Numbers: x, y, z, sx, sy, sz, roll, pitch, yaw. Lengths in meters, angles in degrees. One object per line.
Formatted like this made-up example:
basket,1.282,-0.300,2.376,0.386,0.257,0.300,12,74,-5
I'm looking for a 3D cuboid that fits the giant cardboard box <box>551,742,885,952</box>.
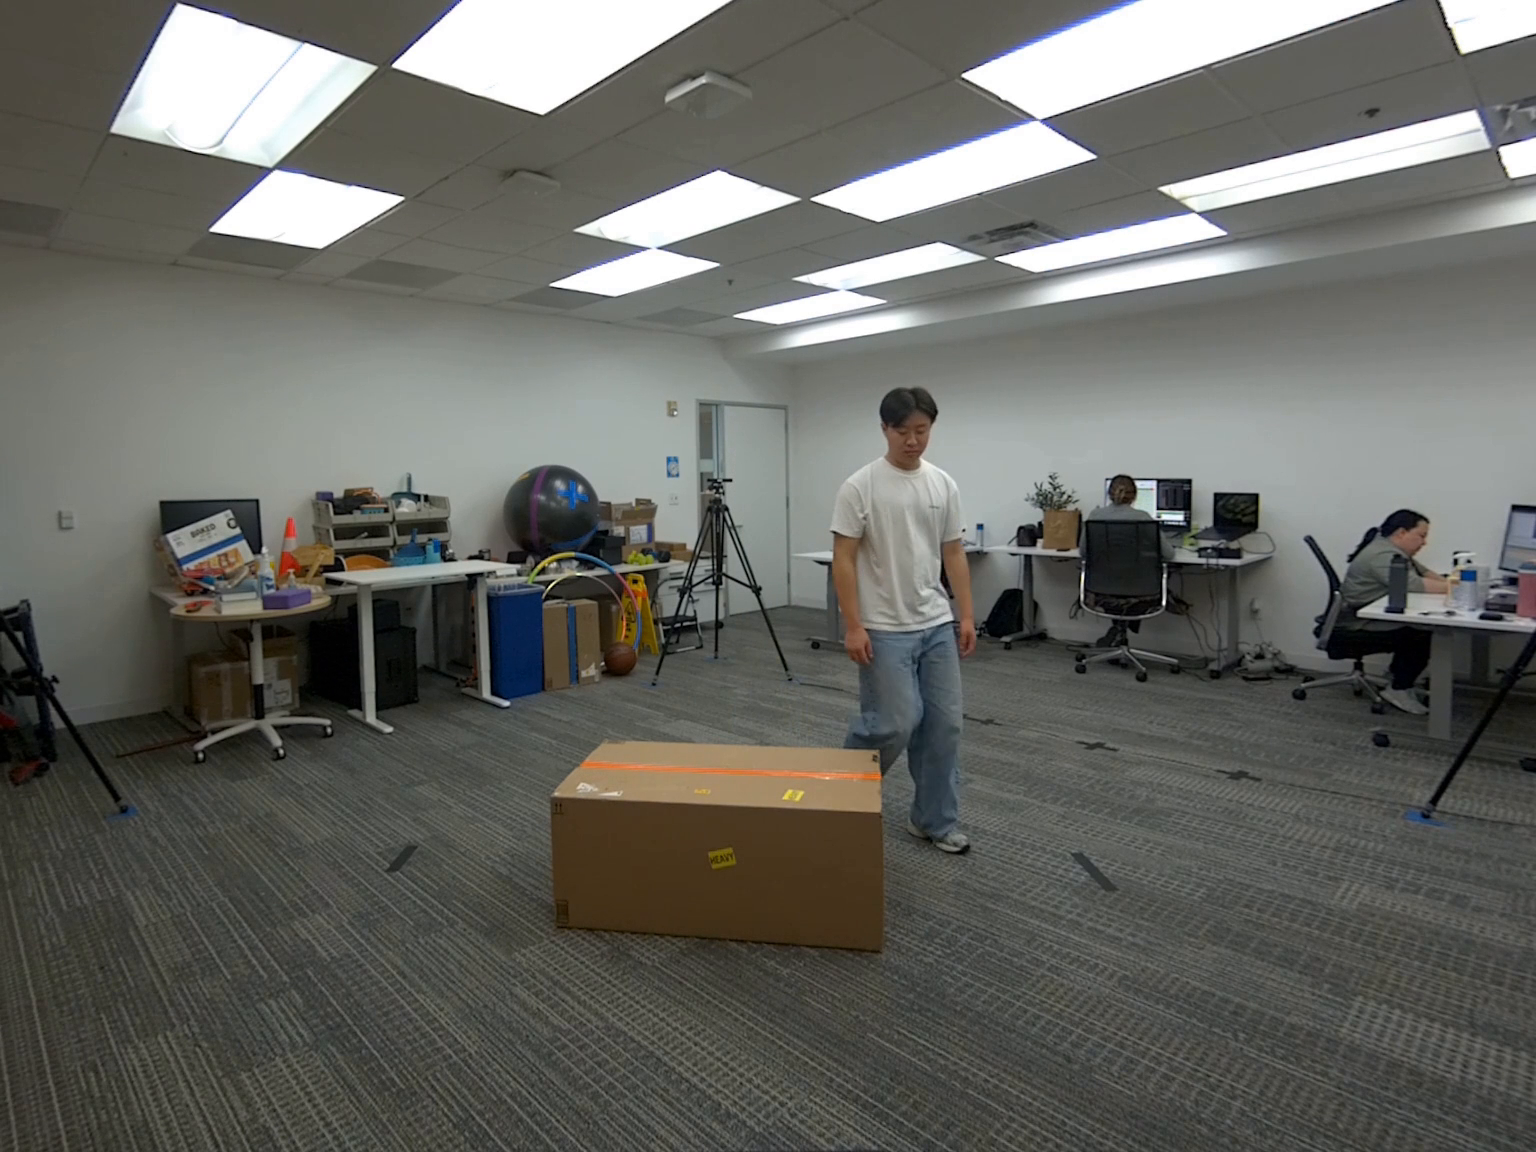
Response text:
giant cardboard box,-0.139,0.856,2.862,1.035,0.424,0.575,0,6,9
